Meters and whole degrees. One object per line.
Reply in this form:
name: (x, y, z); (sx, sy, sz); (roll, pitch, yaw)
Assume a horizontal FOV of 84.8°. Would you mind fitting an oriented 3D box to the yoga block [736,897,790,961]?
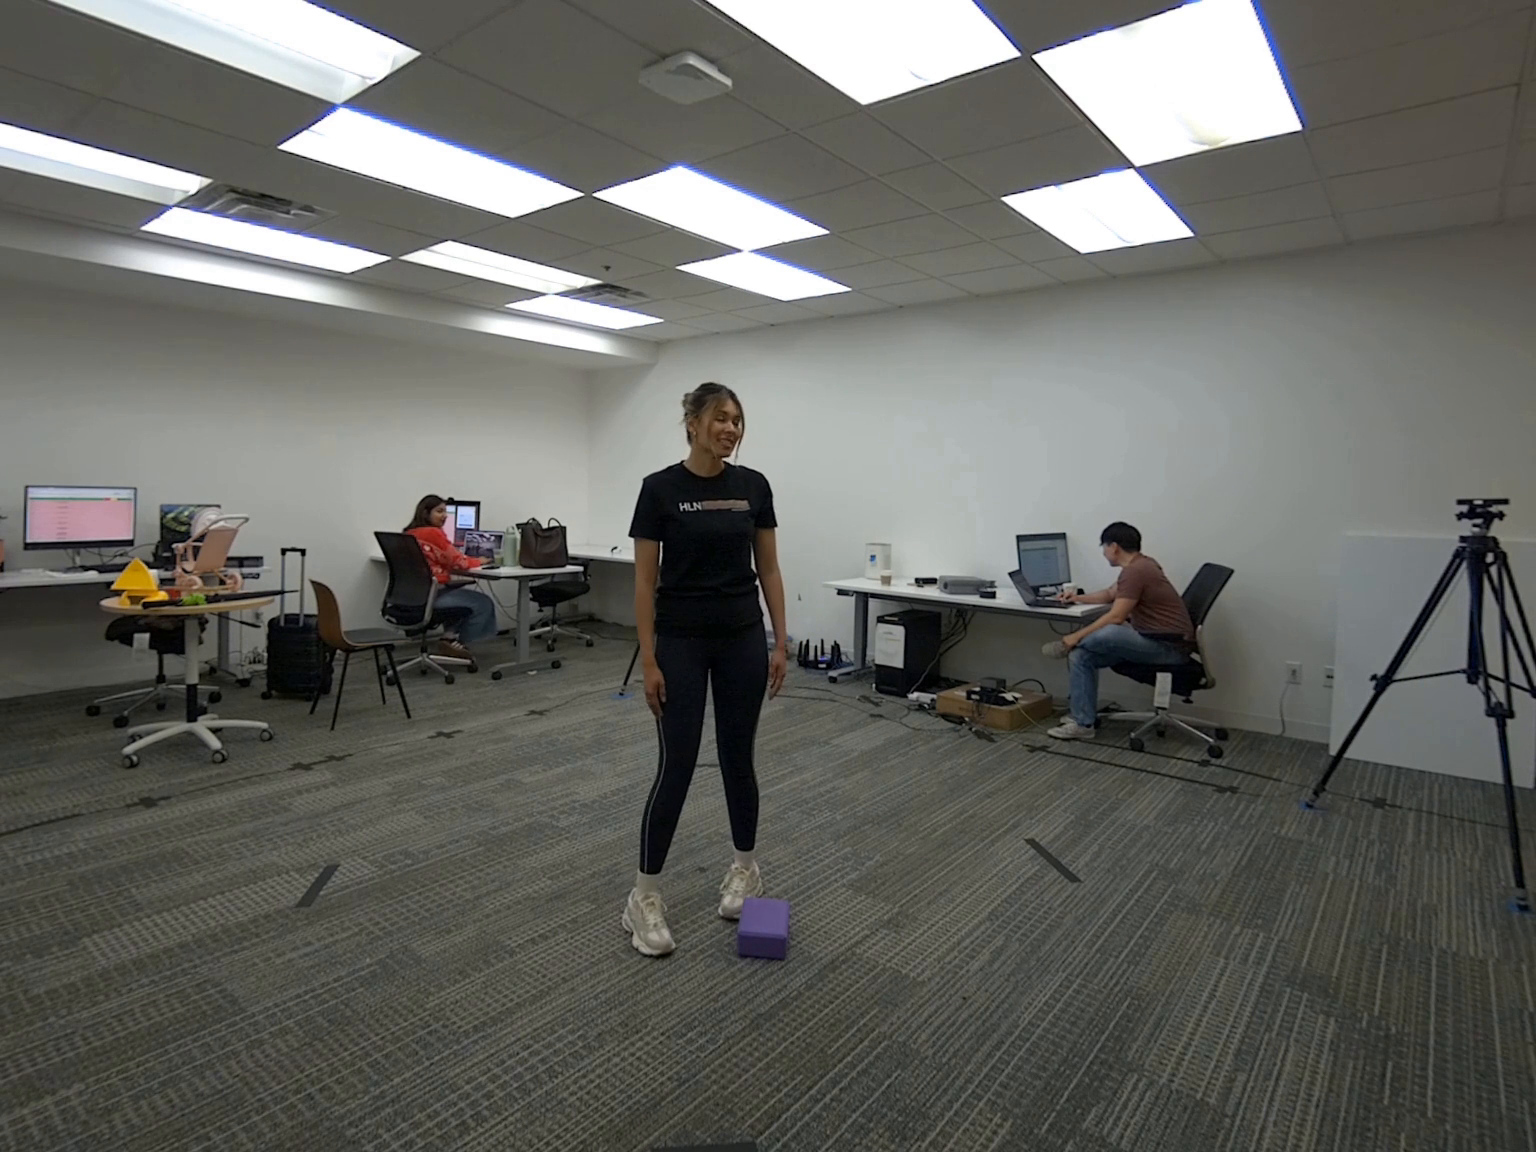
yoga block: (-0.015, 1.082, 2.627); (0.150, 0.076, 0.229); (1, 5, 3)
